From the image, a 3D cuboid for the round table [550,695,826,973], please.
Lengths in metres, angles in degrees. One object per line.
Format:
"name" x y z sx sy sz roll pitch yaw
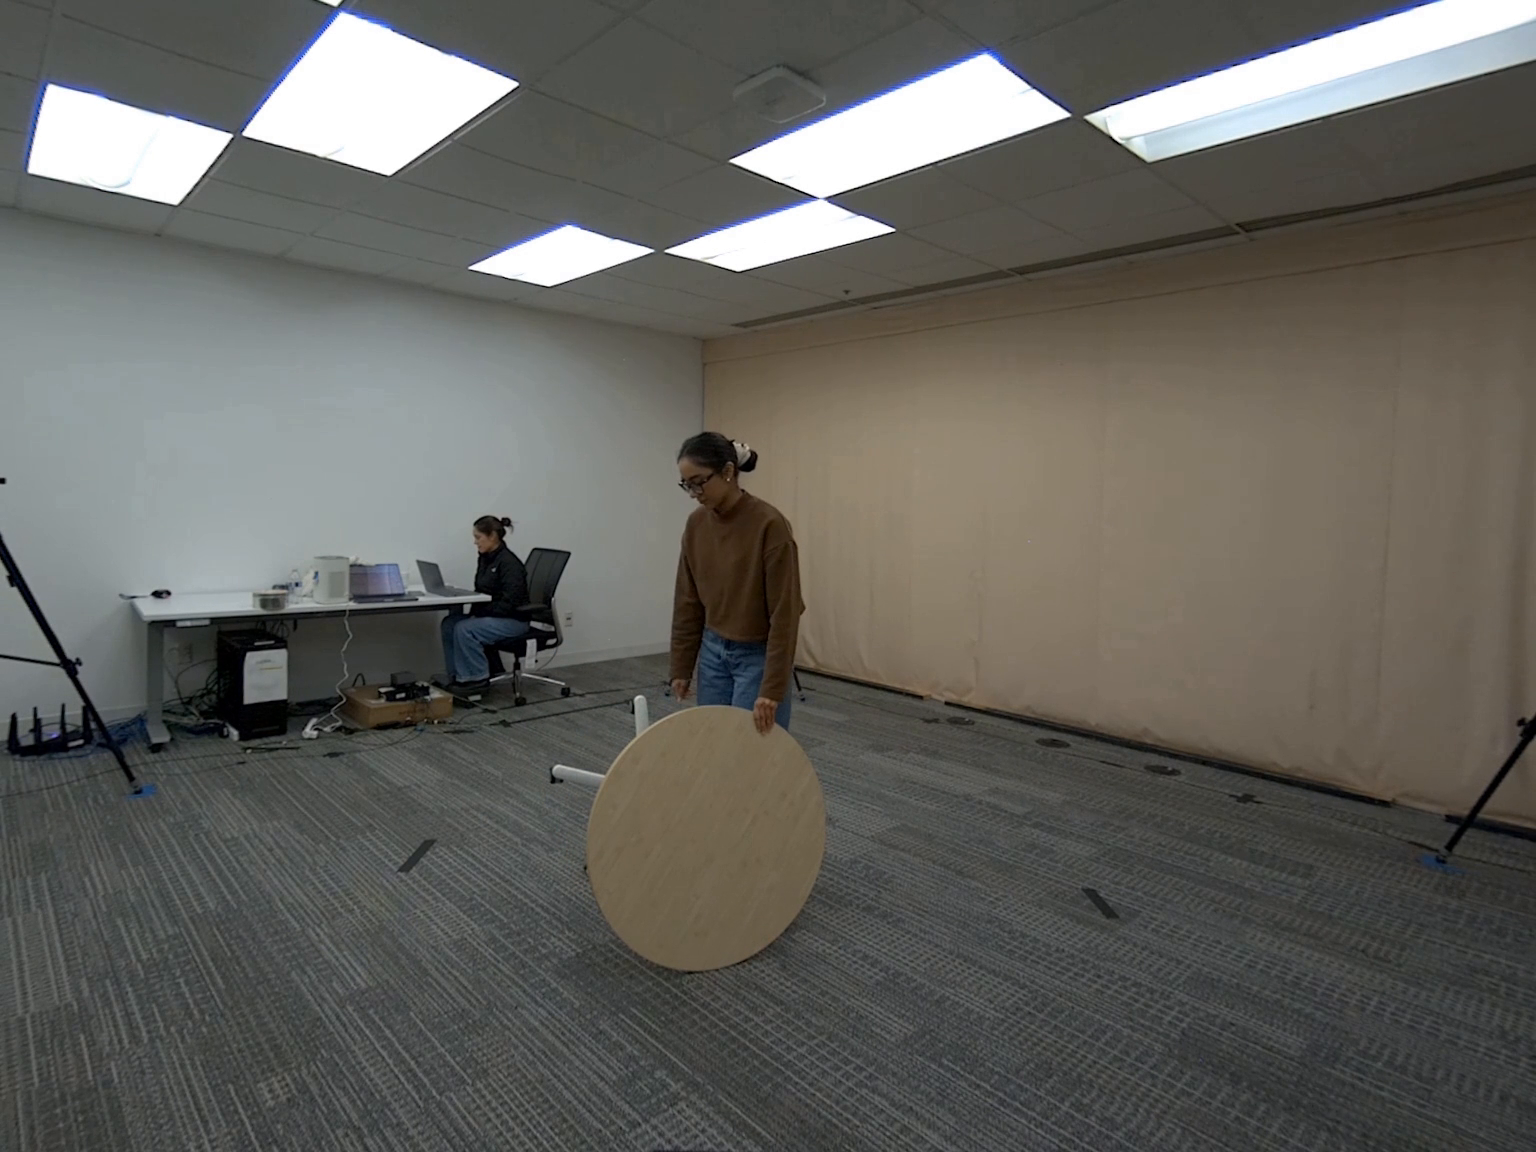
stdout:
"round table" -0.342 0.794 2.871 0.750 0.766 0.806 -1 -3 -25
